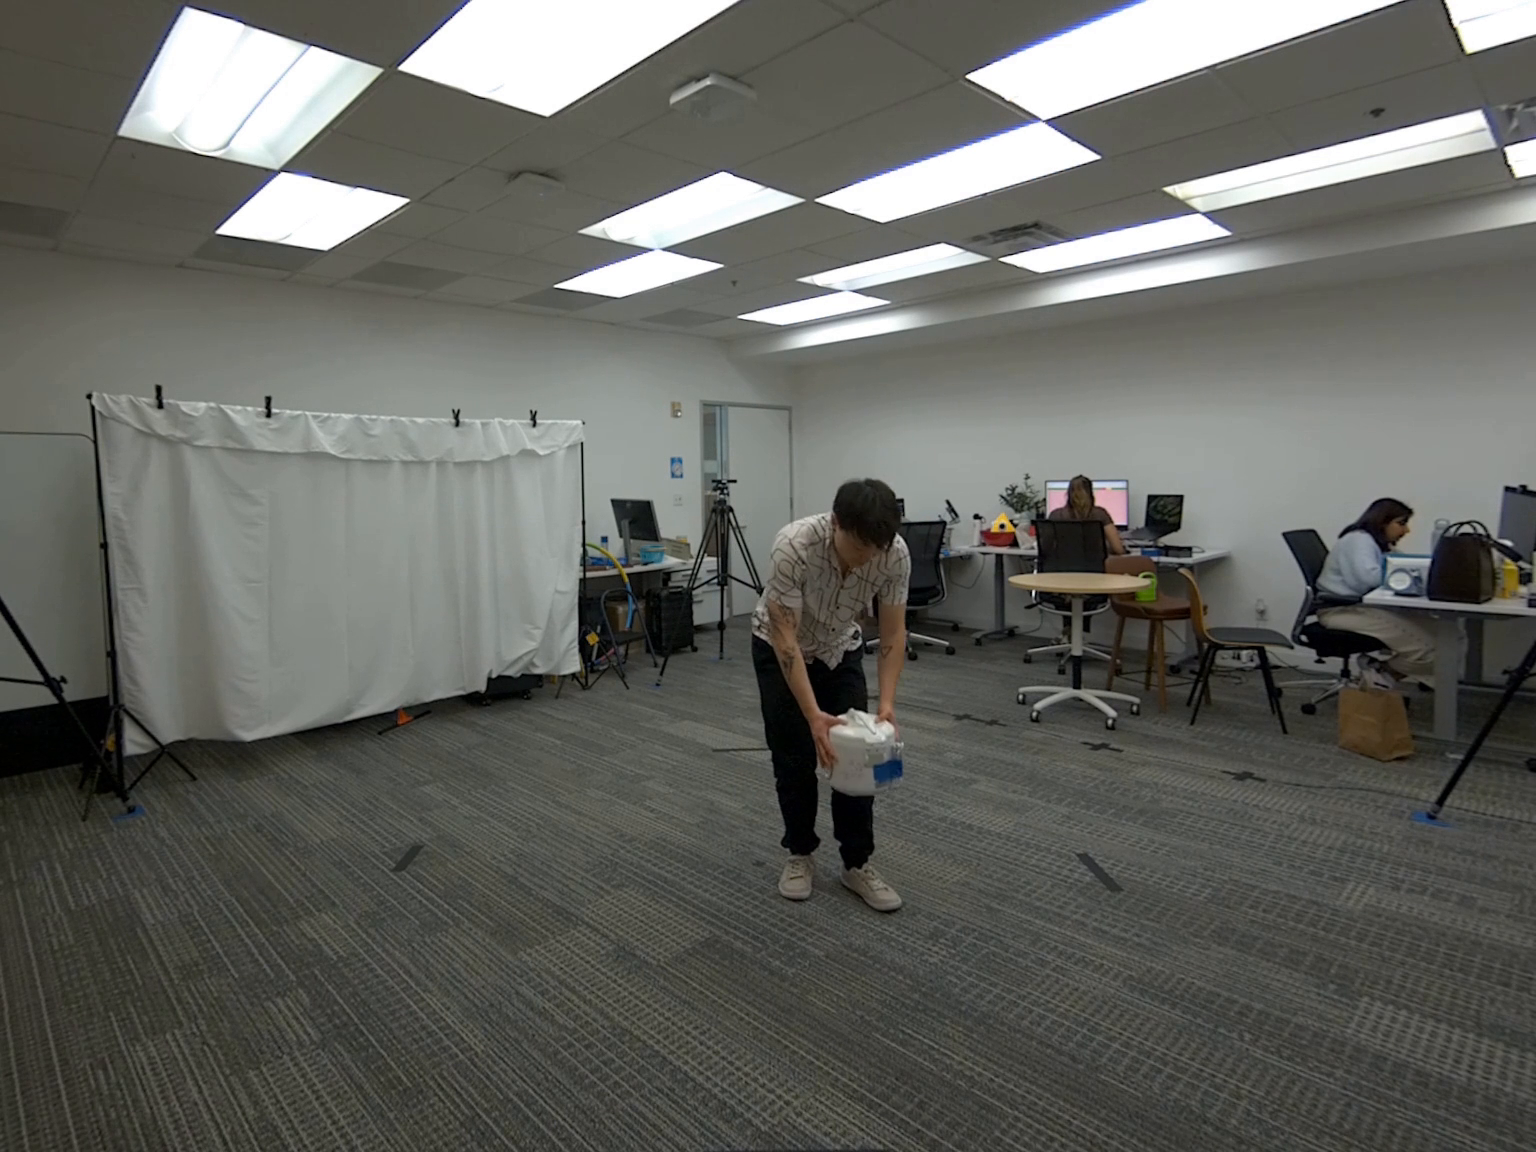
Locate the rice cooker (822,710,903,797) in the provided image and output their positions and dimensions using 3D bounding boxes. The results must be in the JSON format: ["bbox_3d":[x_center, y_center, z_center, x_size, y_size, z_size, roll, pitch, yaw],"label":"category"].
[{"bbox_3d":[0.273,0.532,2.612,0.214,0.231,0.225,-2,8,-18],"label":"rice cooker"}]
